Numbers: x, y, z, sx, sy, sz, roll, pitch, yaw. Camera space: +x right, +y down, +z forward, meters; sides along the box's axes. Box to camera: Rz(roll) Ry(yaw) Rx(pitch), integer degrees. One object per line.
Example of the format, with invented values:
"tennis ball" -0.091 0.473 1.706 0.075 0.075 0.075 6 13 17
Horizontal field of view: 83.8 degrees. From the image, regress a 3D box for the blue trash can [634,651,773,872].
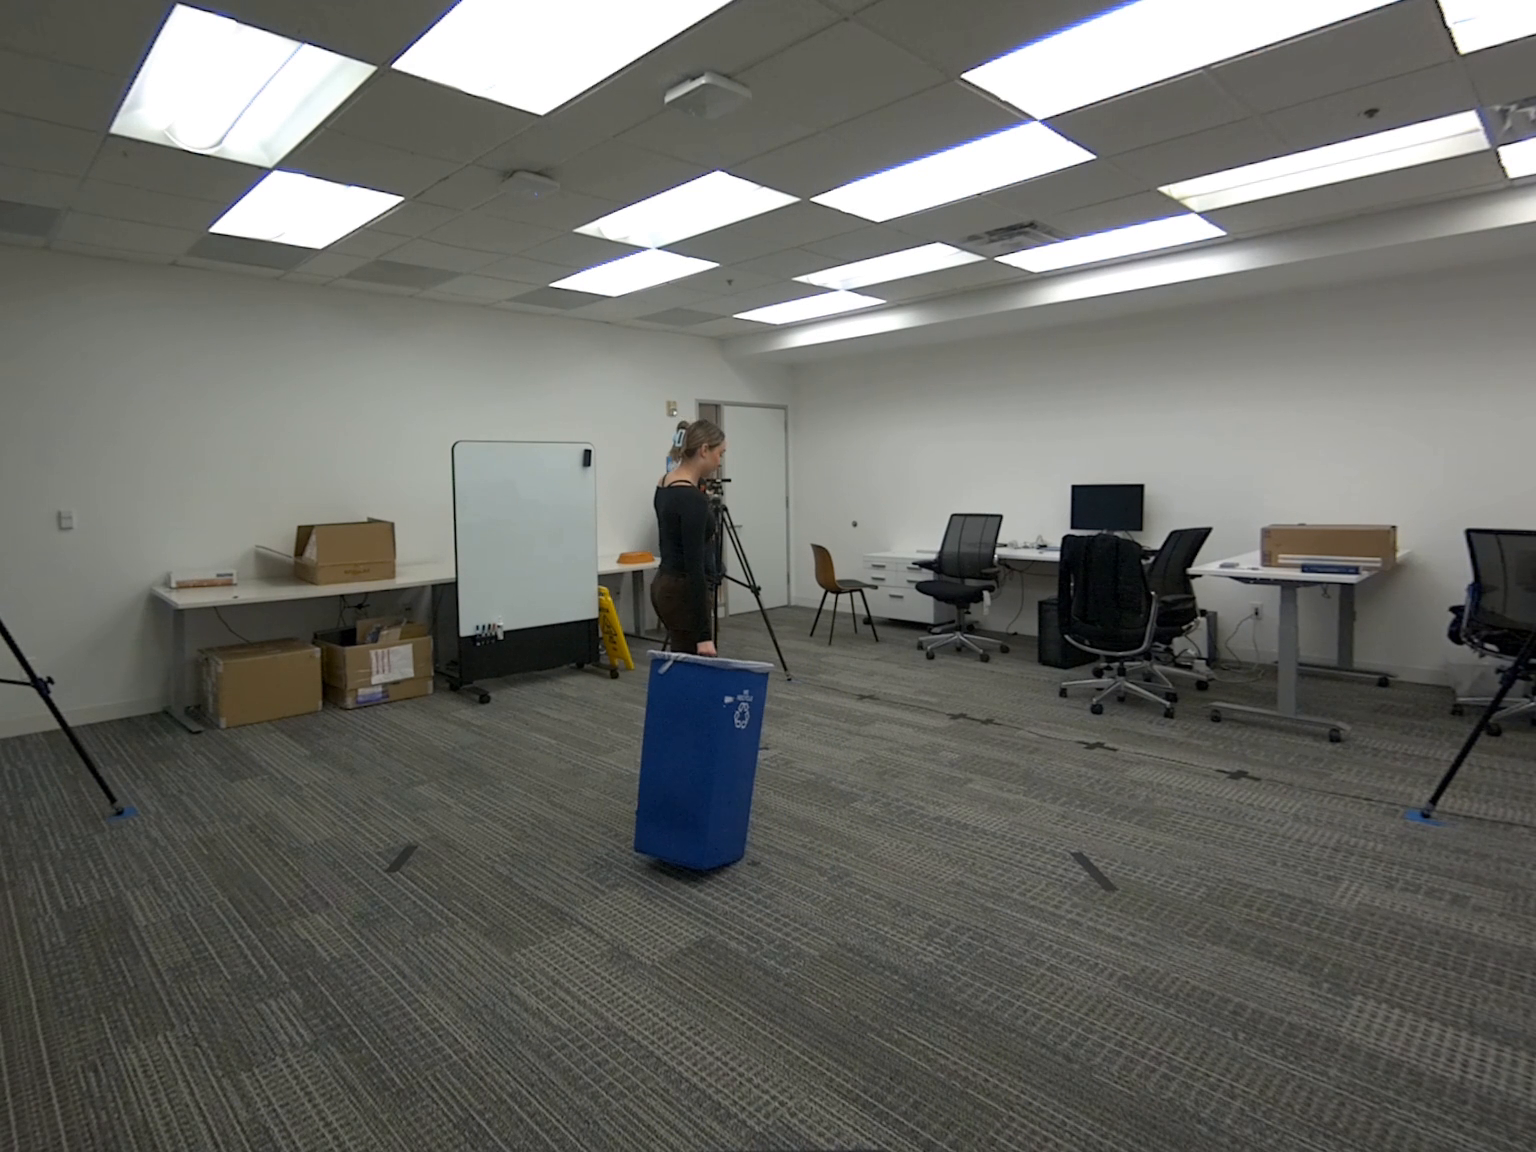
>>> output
"blue trash can" -0.246 0.660 3.165 0.388 0.717 0.362 2 -7 31
